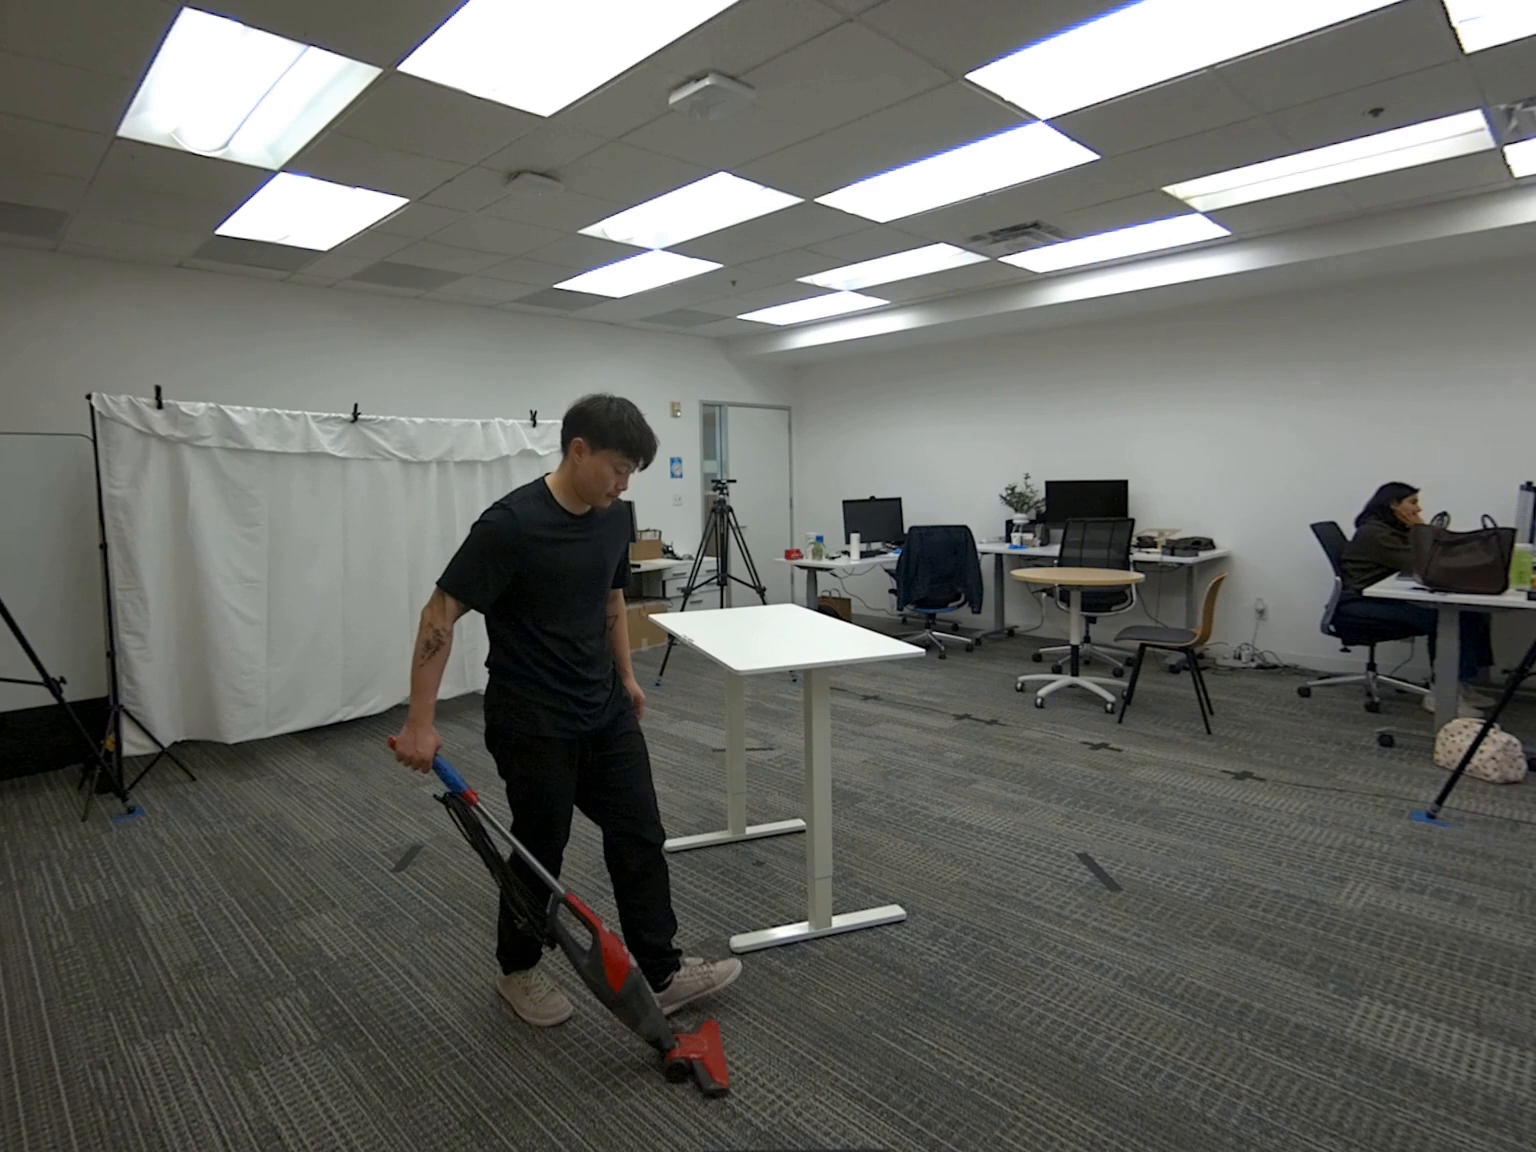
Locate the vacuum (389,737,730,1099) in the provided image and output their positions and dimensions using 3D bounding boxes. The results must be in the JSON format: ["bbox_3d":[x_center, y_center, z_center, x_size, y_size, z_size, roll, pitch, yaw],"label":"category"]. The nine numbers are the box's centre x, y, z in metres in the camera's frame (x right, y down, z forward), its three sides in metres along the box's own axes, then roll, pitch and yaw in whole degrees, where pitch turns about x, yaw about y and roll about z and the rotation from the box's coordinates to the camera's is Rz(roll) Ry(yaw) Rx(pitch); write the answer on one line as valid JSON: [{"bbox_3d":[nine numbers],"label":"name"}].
[{"bbox_3d":[-0.497,0.784,1.992,0.144,1.039,0.255,-43,8,-8],"label":"vacuum"}]
